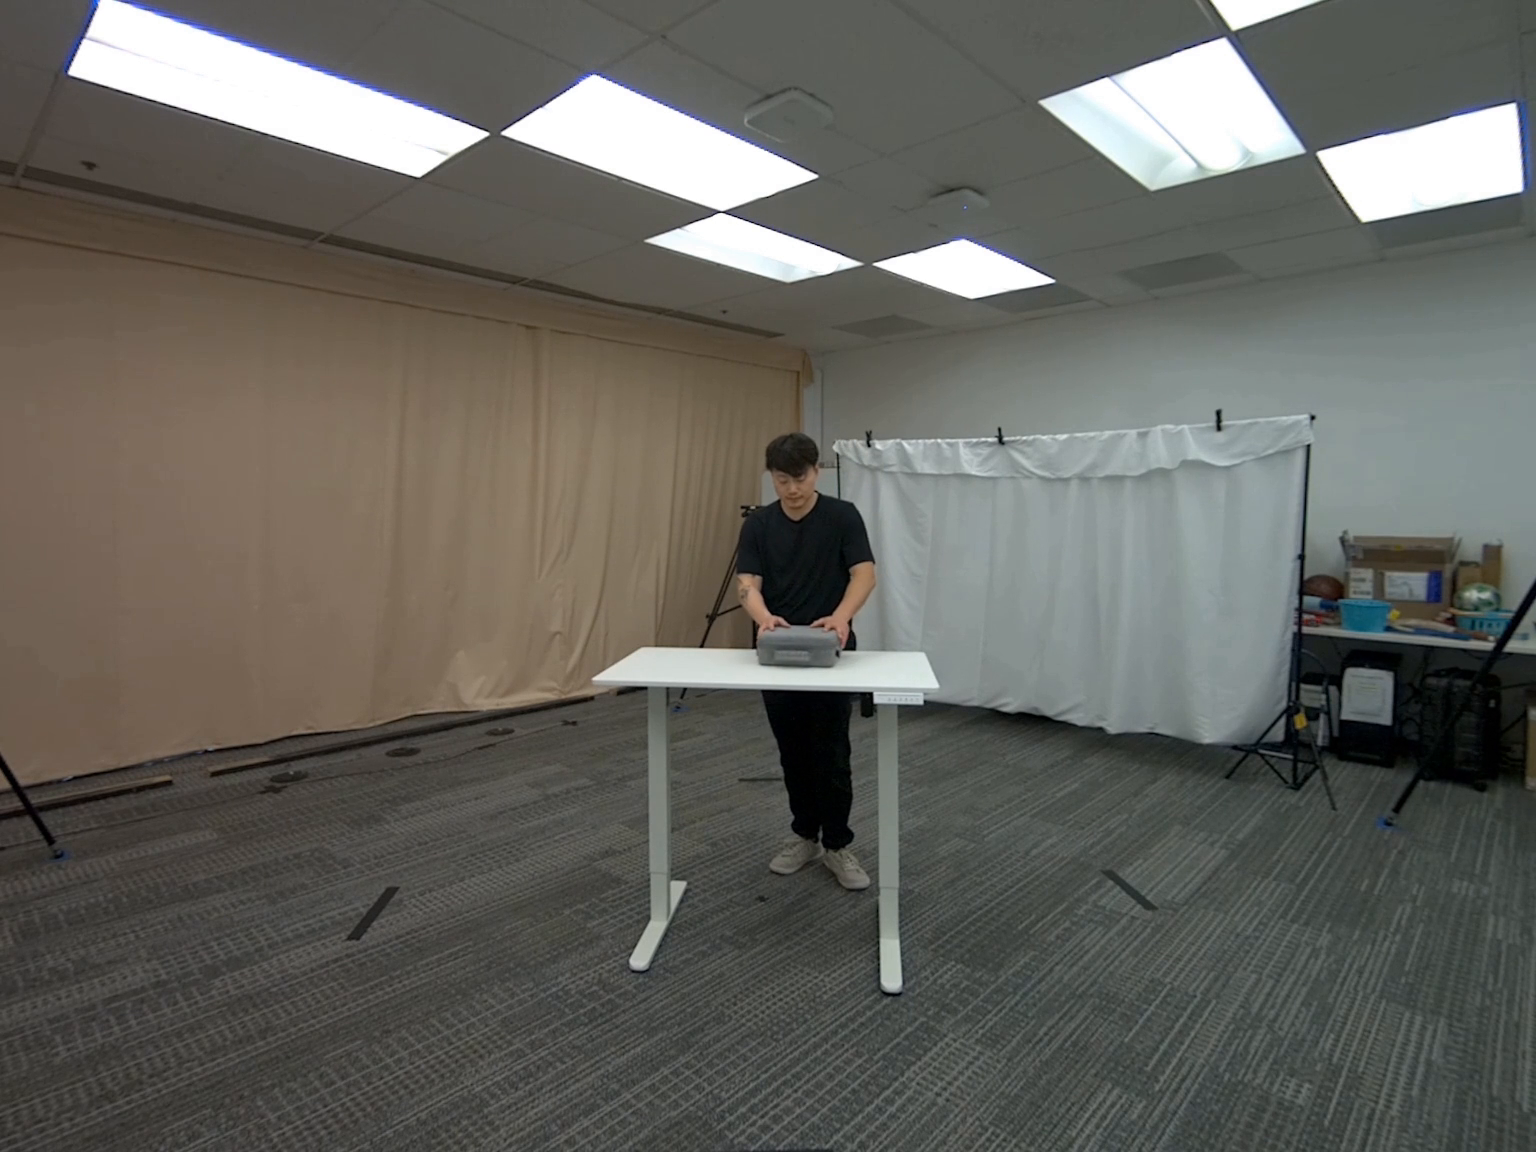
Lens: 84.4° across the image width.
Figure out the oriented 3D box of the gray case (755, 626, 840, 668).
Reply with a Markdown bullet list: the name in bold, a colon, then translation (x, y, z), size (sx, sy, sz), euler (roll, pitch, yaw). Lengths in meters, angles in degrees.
- **gray case**: translation (0.111, 0.228, 2.762), size (0.261, 0.104, 0.257), euler (2, 4, 14)
